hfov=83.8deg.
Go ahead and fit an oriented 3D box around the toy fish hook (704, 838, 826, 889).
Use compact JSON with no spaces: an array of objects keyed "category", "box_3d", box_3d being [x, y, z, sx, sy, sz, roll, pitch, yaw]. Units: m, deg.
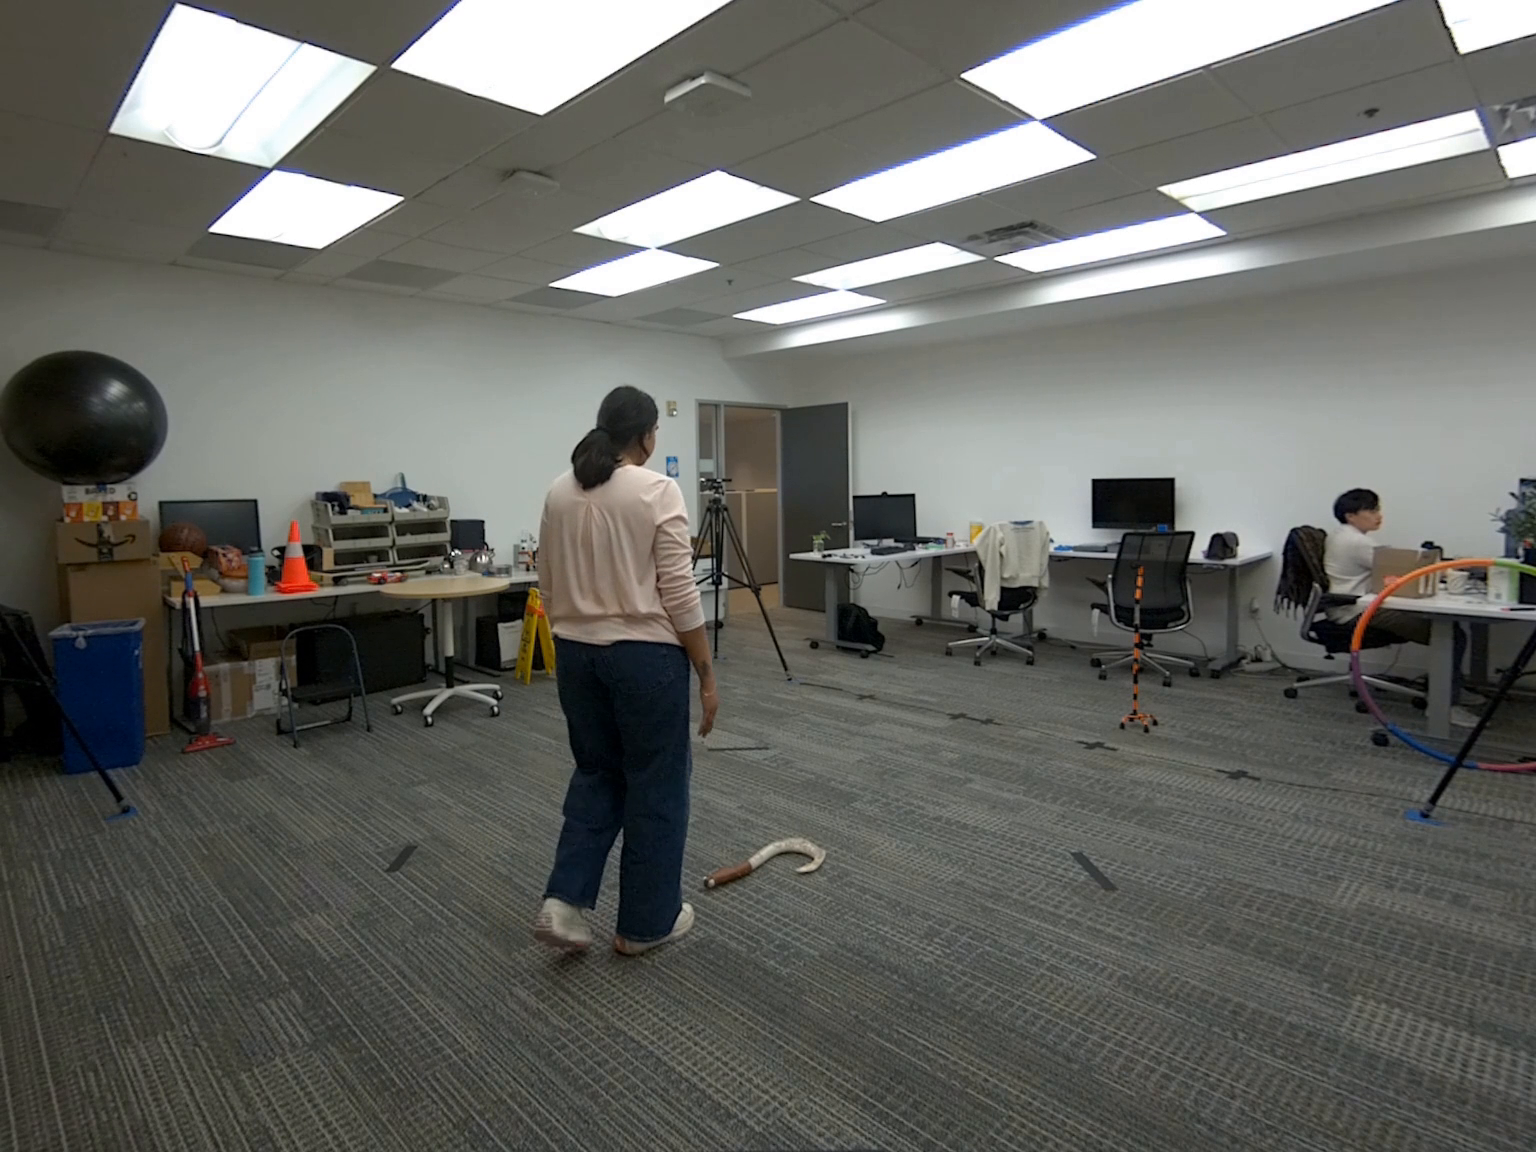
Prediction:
[{"category":"toy fish hook","box_3d":[0.003,1.030,3.027,0.493,0.048,0.231,-7,8,-42]}]
